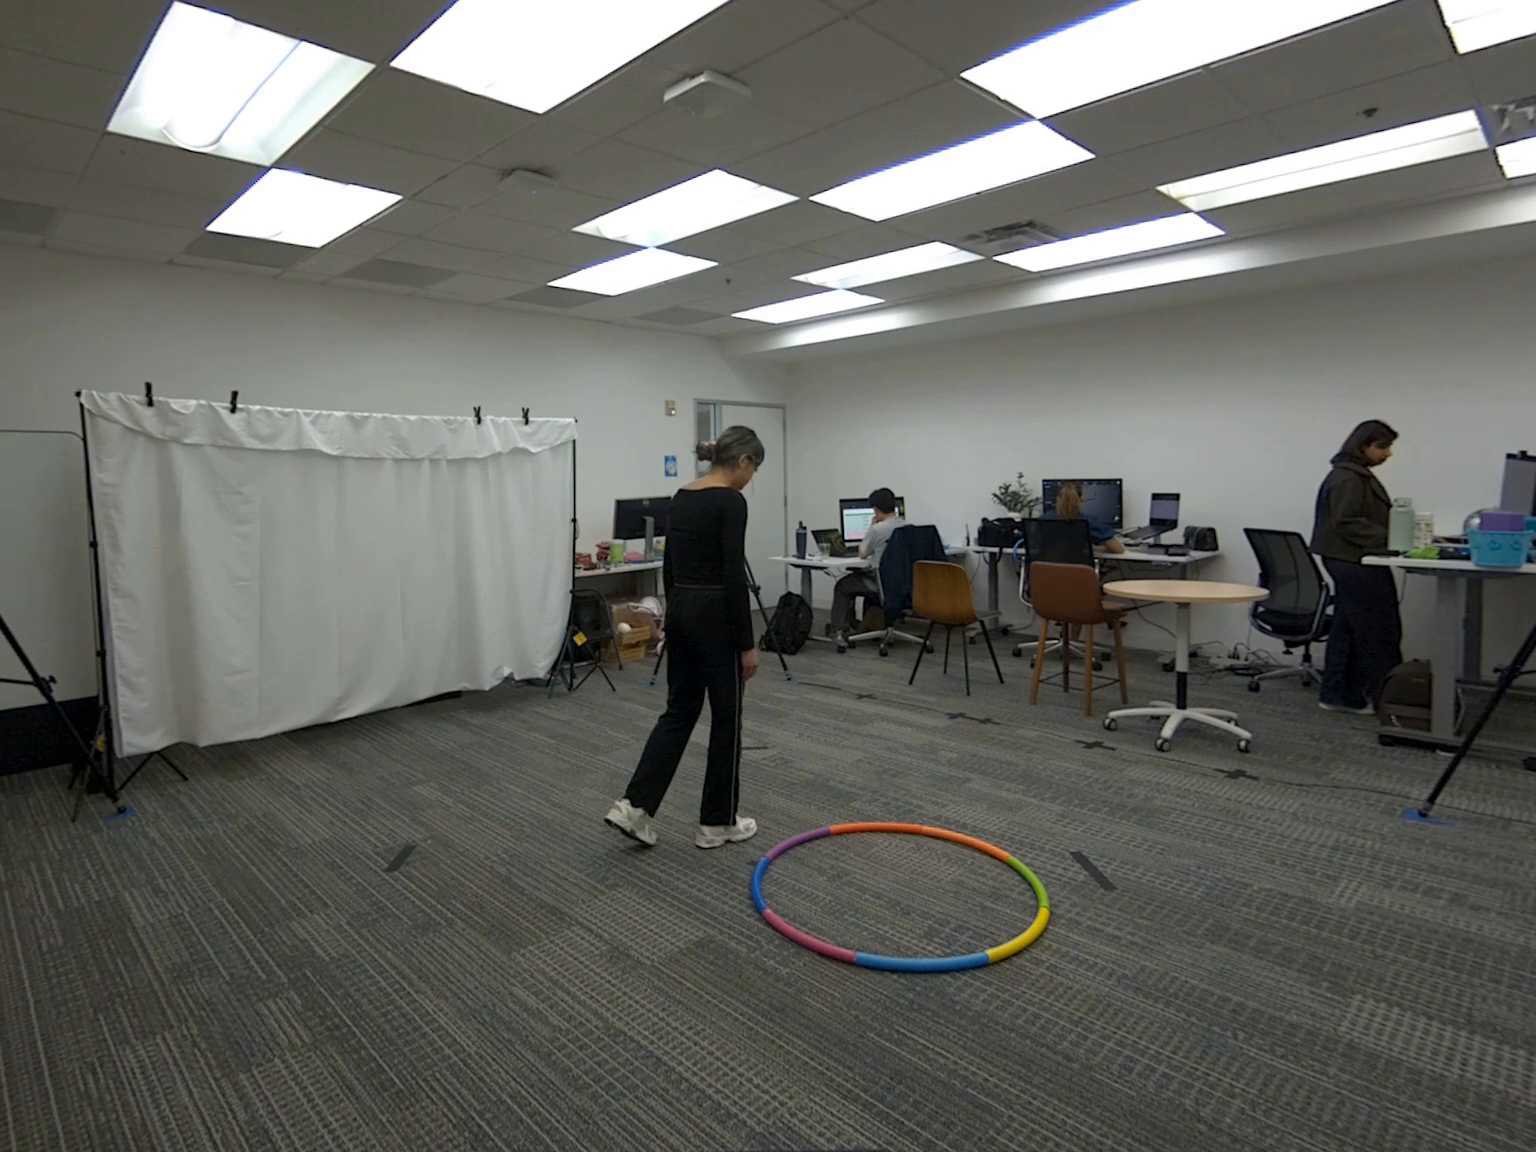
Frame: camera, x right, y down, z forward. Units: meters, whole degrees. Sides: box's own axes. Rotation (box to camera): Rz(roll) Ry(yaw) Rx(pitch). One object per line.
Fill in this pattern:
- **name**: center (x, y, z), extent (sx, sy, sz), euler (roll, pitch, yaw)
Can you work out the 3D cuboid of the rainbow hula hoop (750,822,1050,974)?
- **rainbow hula hoop**: center (0.426, 1.028, 2.889), extent (0.978, 0.035, 0.984), euler (-2, 7, -2)
